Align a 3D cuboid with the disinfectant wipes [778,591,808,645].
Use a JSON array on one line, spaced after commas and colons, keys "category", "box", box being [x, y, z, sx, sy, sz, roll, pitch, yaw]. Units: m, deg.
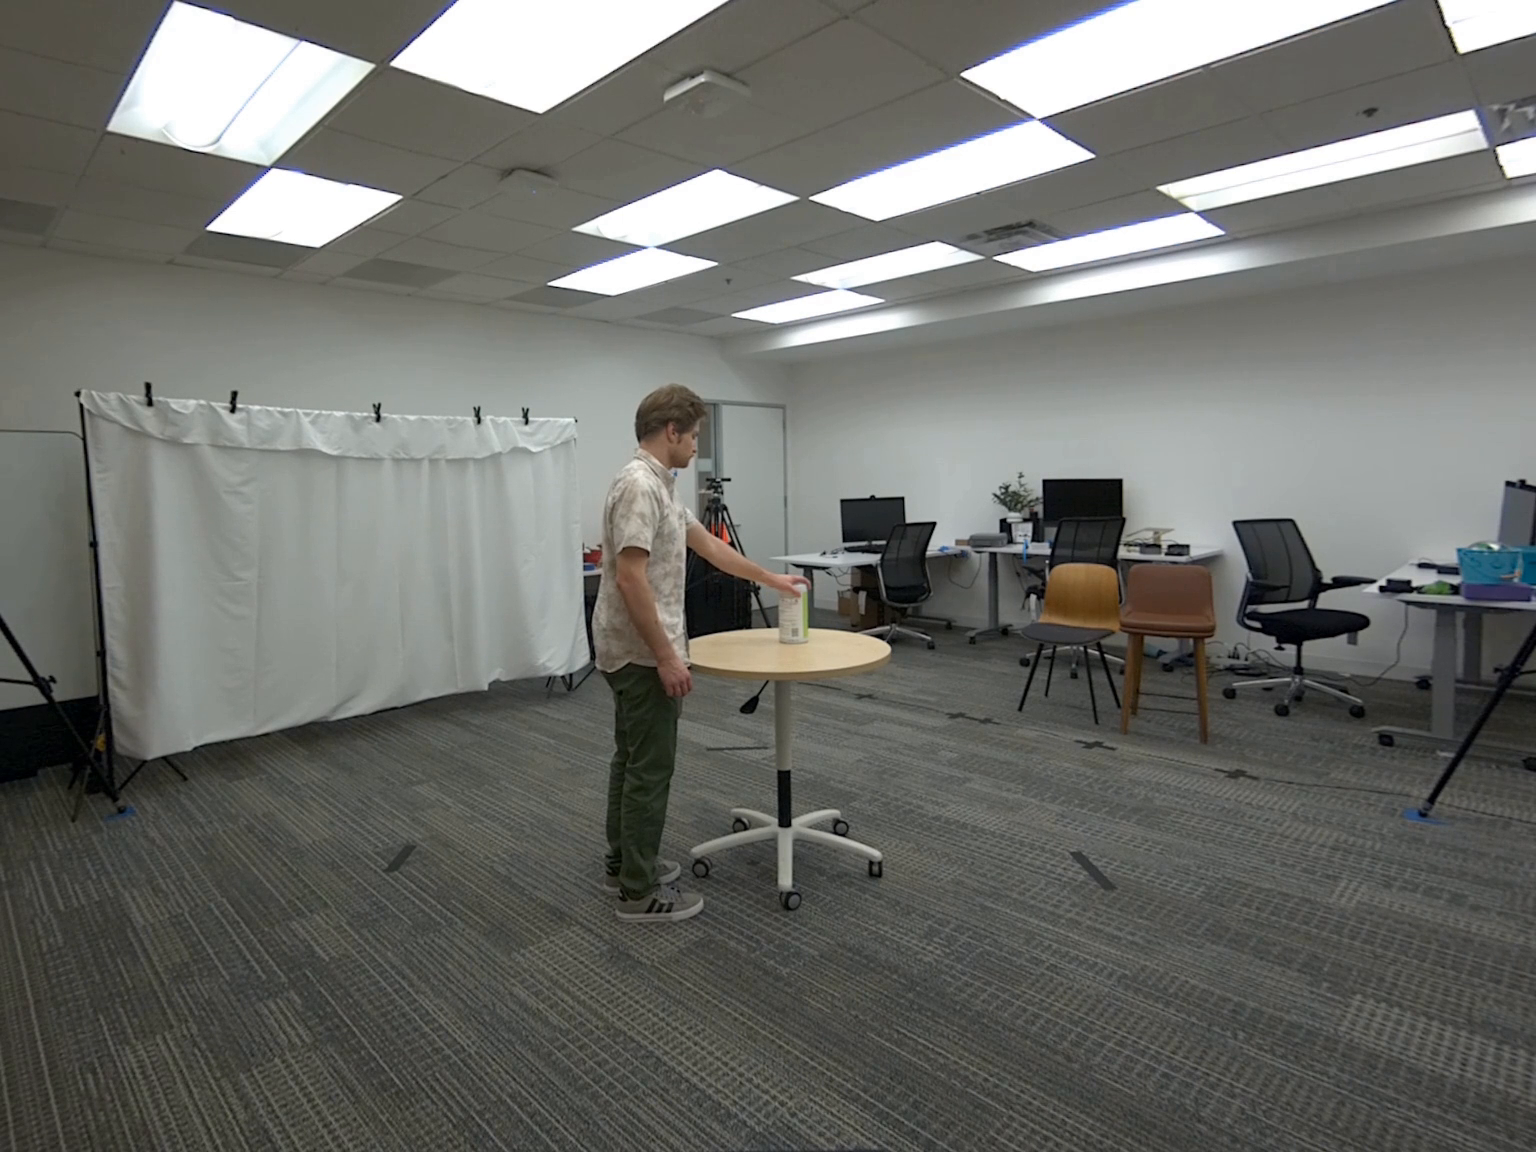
[{"category": "disinfectant wipes", "box": [0.095, 0.138, 3.152, 0.118, 0.217, 0.118, -1, 2, -2]}]
